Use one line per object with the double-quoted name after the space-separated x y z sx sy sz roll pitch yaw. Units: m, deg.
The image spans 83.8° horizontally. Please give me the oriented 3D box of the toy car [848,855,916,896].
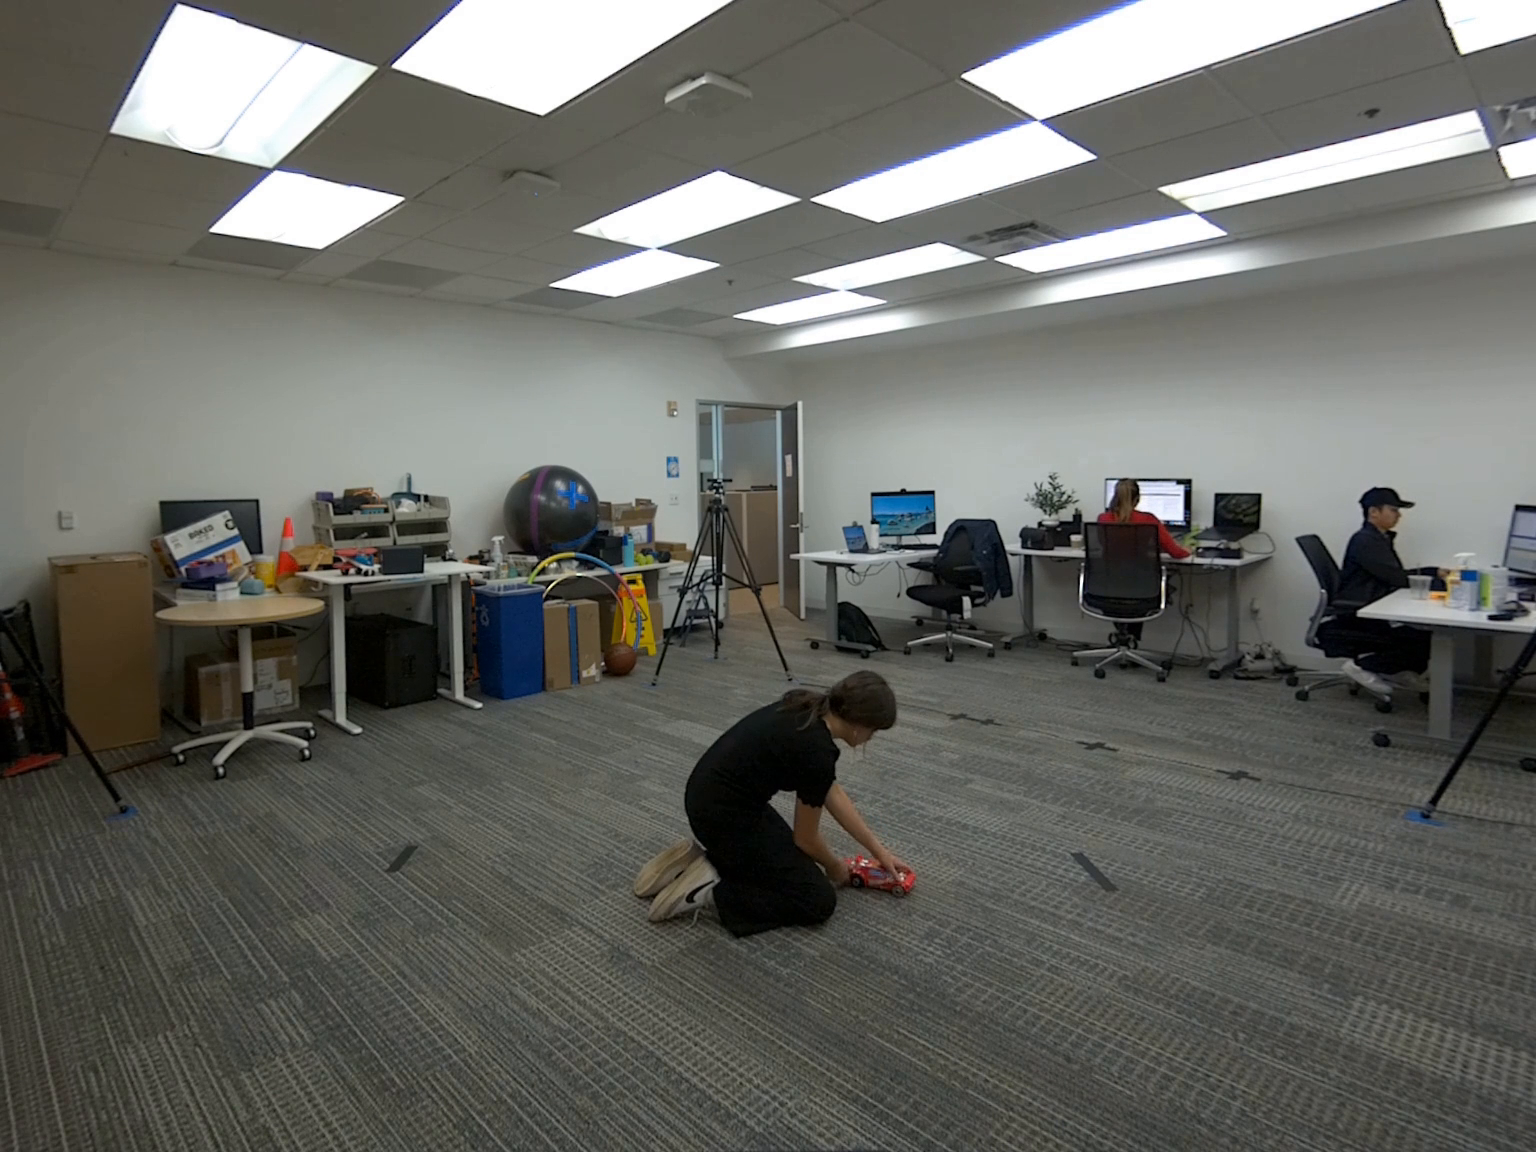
0.363 1.024 2.925 0.262 0.082 0.127 16 12 27 "toy car"
